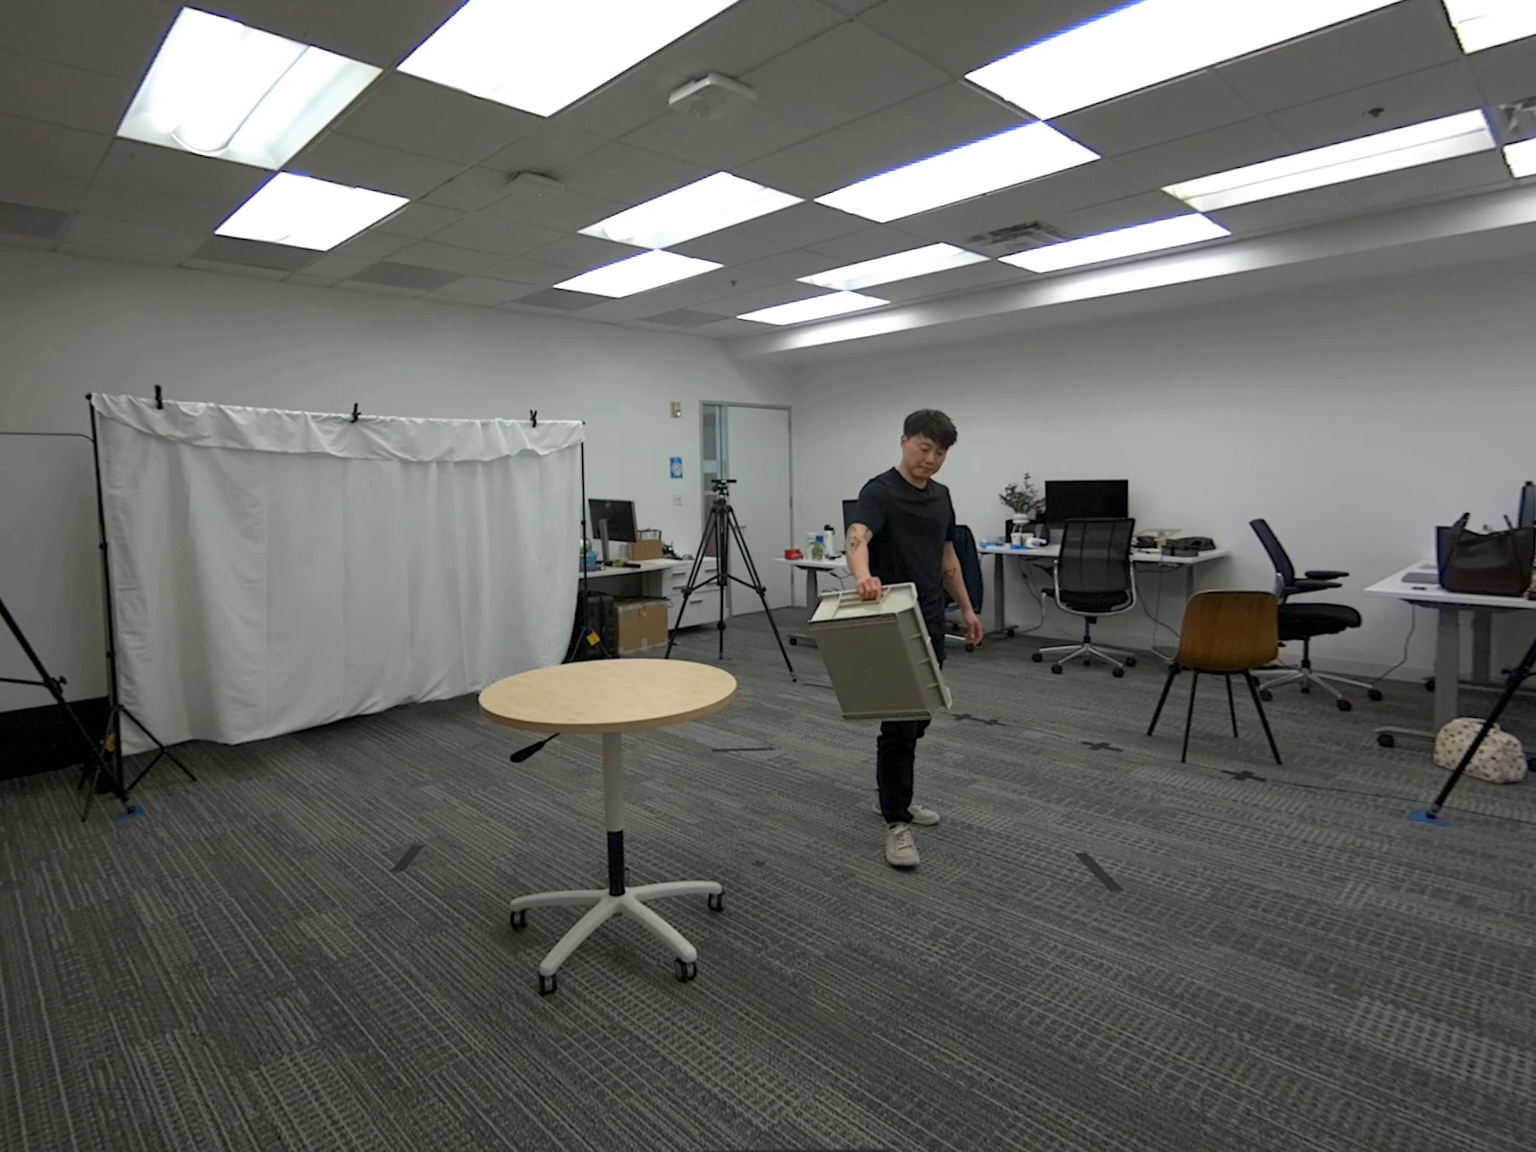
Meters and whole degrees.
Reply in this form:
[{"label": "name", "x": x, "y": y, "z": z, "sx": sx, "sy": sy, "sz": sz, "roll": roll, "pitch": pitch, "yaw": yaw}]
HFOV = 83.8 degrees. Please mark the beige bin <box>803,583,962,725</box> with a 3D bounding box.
[{"label": "beige bin", "x": 0.387, "y": 0.263, "z": 2.889, "sx": 0.385, "sy": 0.413, "sz": 0.189, "roll": -10, "pitch": 22, "yaw": 32}]
